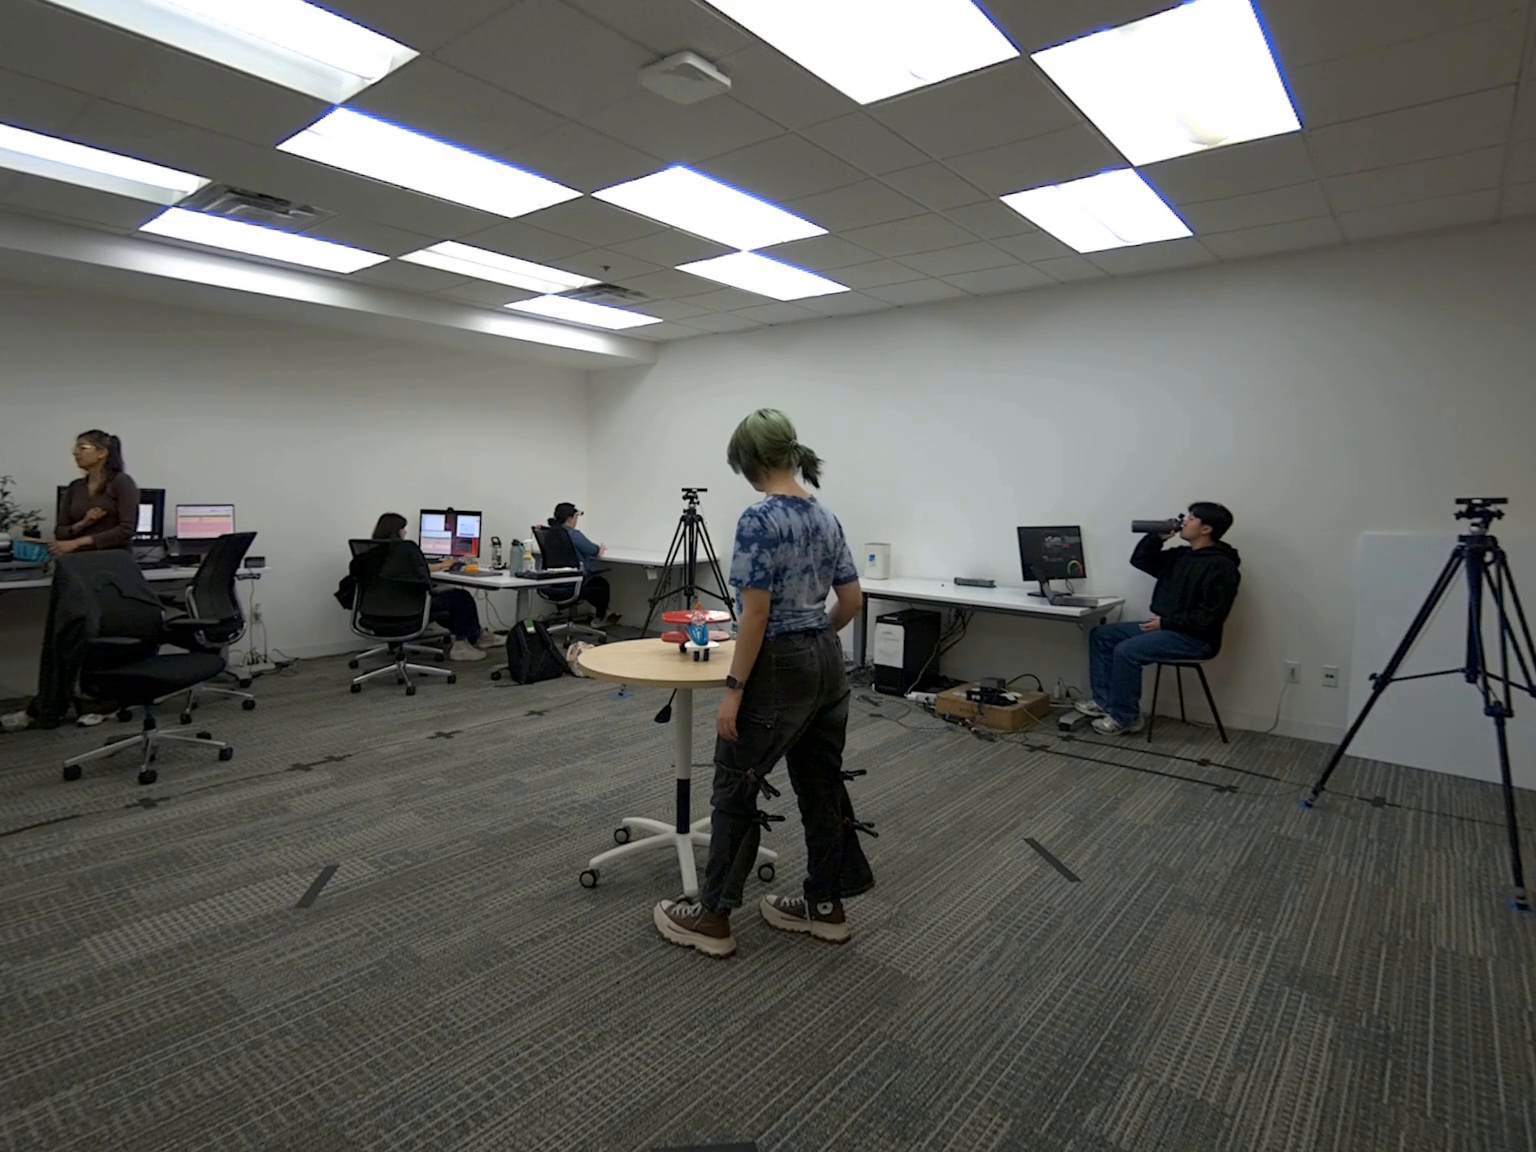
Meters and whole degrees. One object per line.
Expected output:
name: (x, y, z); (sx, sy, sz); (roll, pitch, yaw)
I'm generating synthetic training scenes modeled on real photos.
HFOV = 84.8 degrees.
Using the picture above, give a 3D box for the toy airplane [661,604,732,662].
toy airplane: (-0.249, 0.209, 3.097); (0.243, 0.156, 0.268); (-3, 4, -40)
